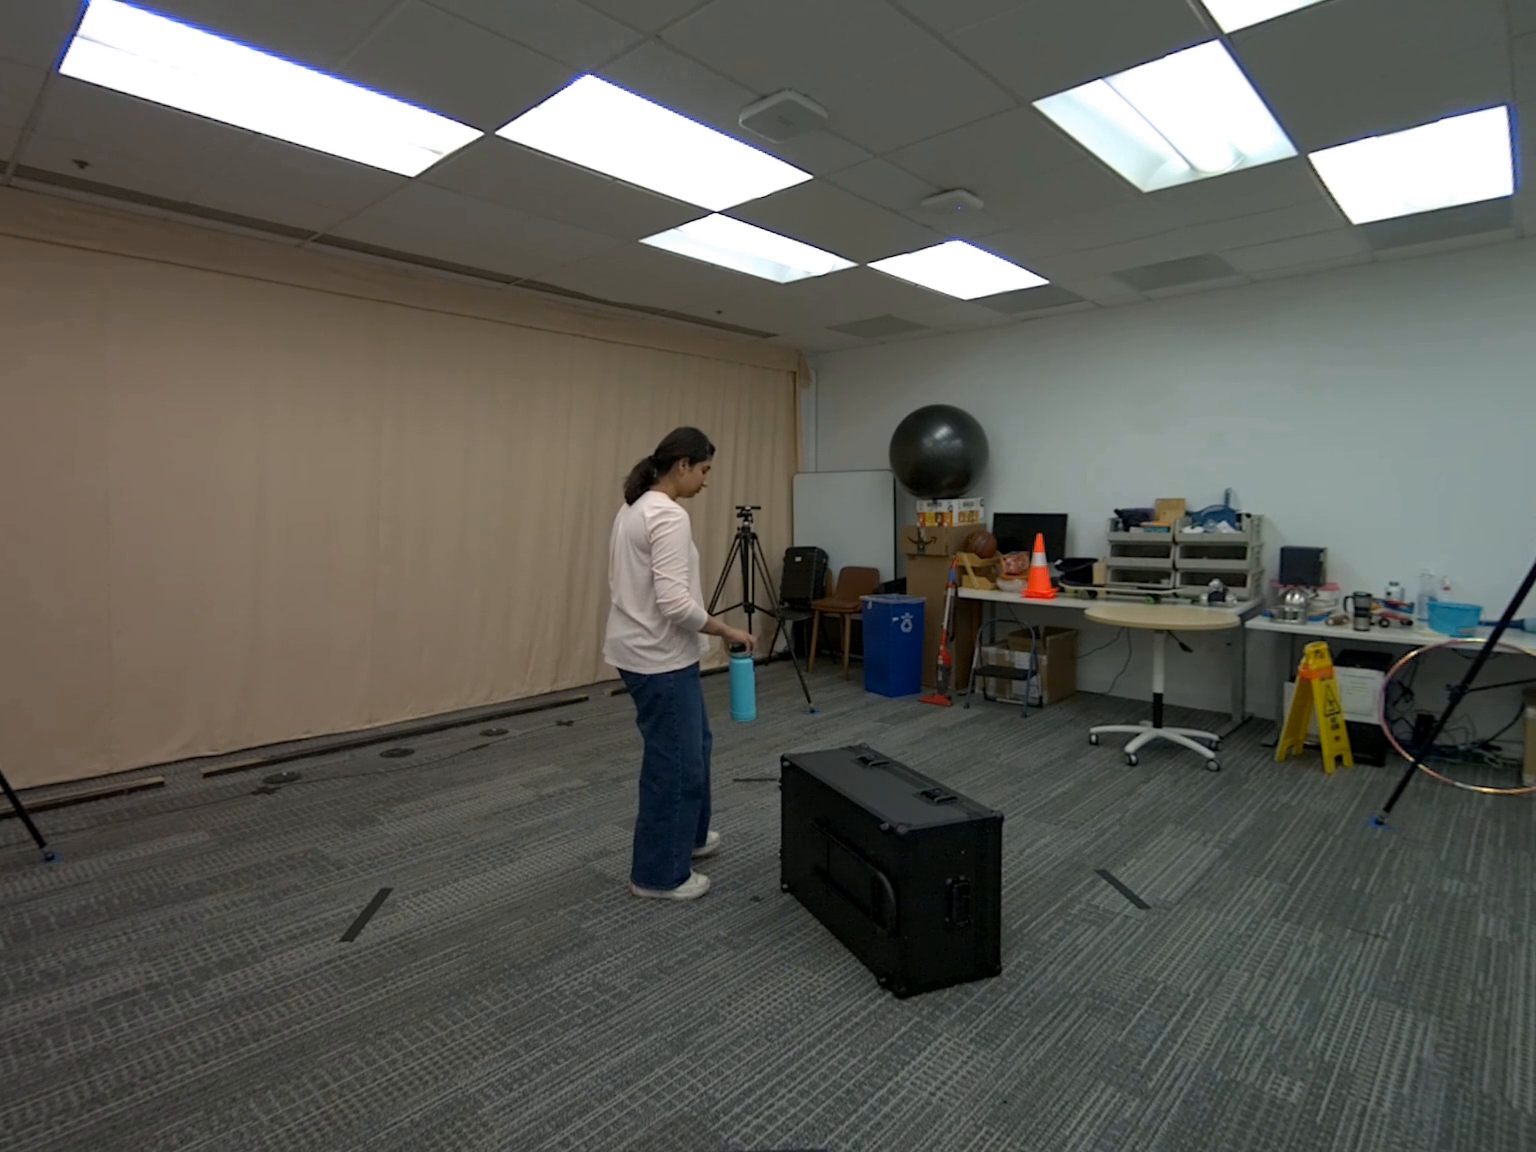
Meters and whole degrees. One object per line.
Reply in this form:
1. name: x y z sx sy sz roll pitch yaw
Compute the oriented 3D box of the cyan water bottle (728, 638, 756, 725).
1. cyan water bottle: -0.094 0.368 2.981 0.092 0.282 0.093 0 6 -2
